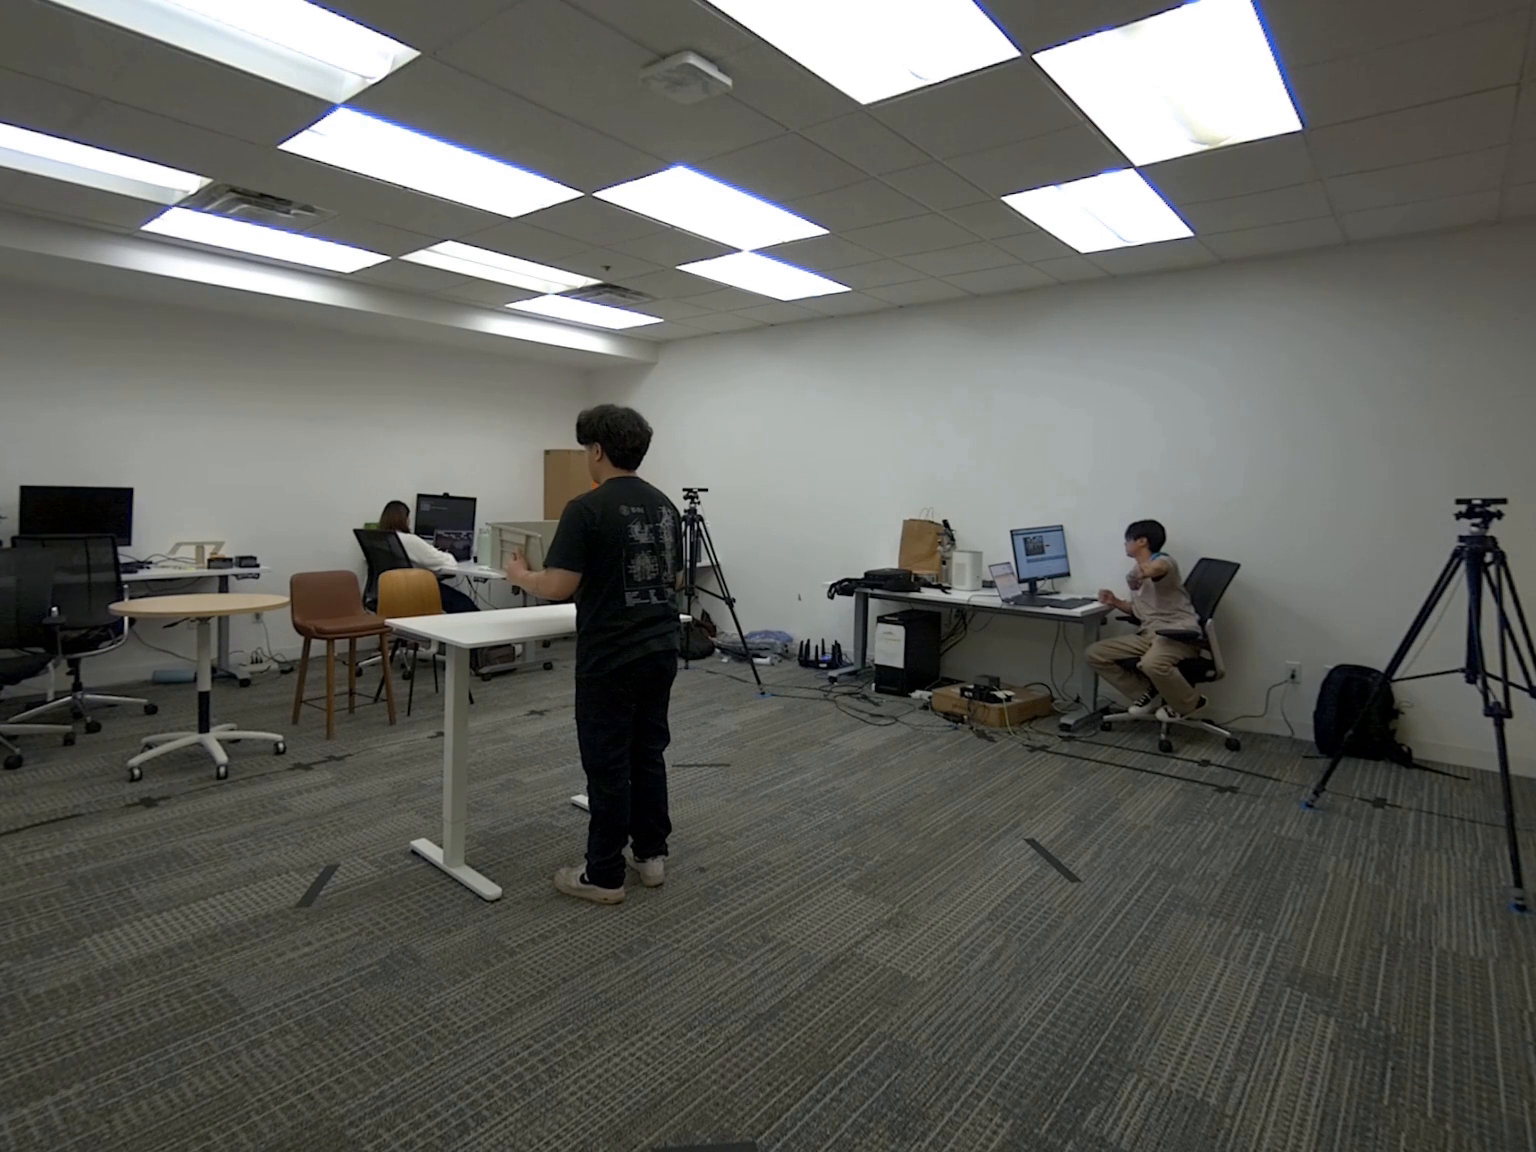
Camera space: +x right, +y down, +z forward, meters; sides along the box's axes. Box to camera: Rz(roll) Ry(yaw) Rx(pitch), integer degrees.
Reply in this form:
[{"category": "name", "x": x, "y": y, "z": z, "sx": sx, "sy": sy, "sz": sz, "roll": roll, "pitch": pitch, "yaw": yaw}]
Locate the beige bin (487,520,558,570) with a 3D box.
[{"category": "beige bin", "x": -0.778, "y": -0.093, "z": 3.174, "sx": 0.391, "sy": 0.188, "sz": 0.410, "roll": 10, "pitch": 11, "yaw": 43}]
